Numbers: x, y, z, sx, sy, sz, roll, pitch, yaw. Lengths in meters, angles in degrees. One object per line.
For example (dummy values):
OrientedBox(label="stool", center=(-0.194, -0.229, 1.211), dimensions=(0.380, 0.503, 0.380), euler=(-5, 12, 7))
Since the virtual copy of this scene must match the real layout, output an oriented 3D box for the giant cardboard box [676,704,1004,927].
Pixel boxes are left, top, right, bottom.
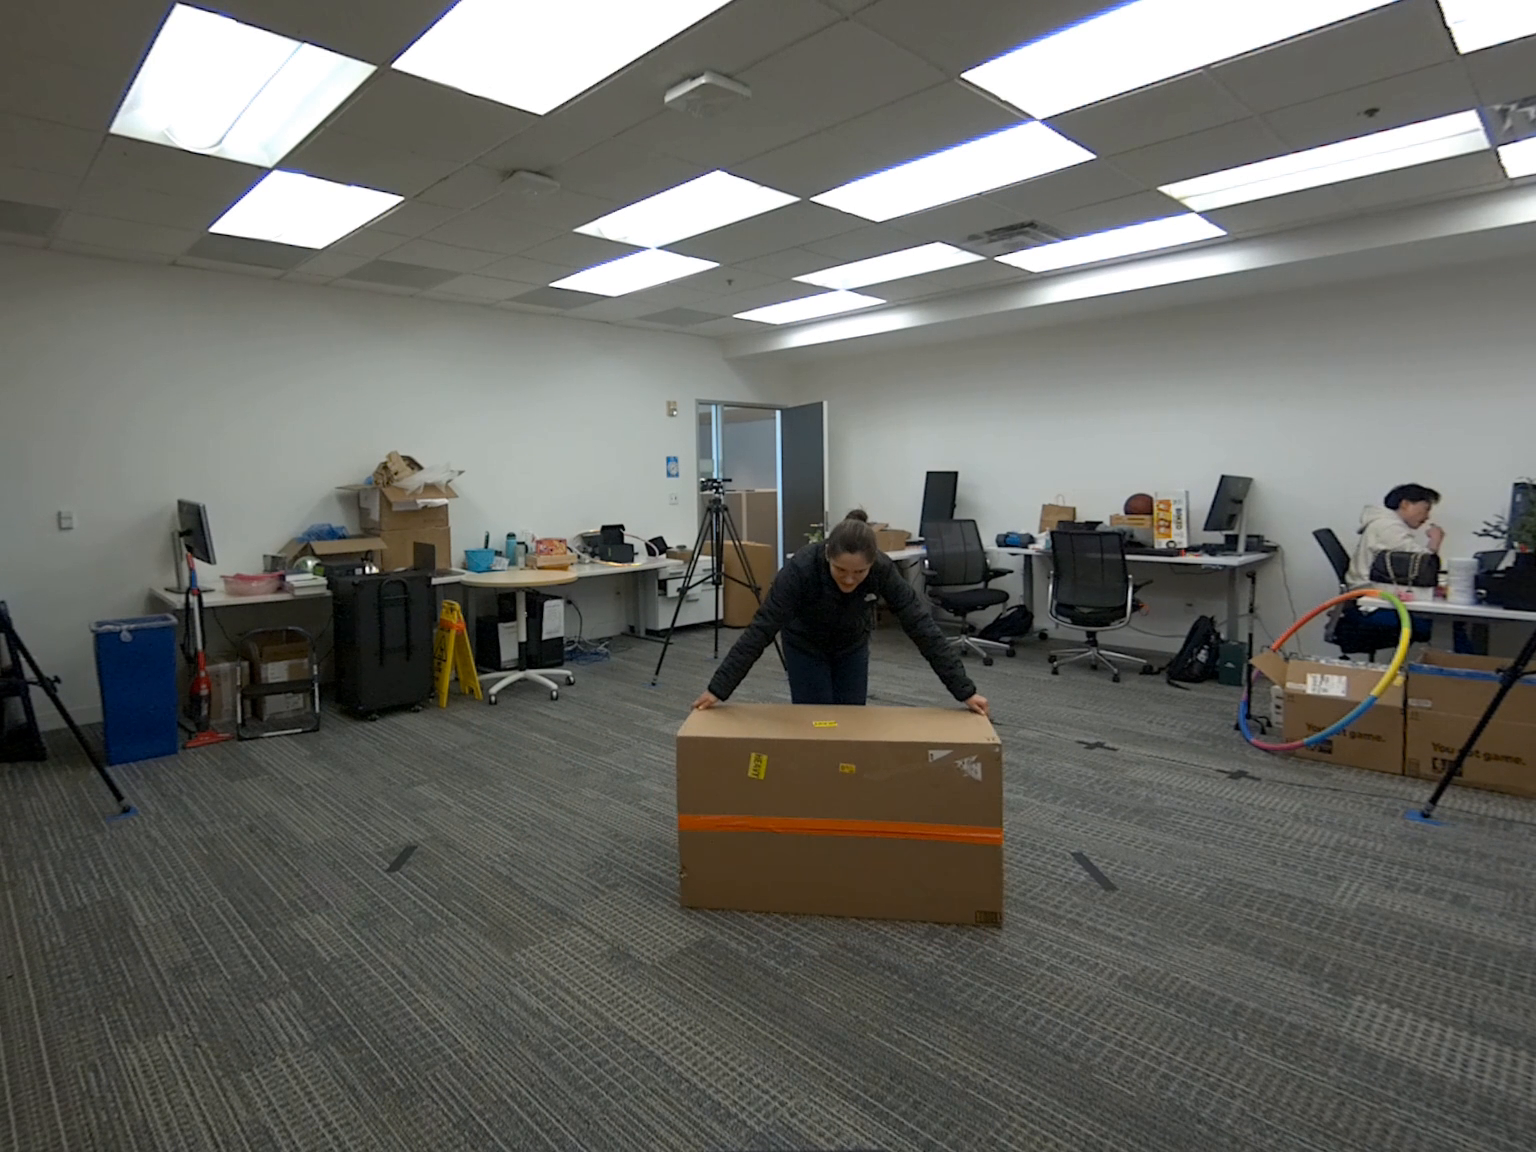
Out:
OrientedBox(label="giant cardboard box", center=(0.231, 0.772, 2.910), dimensions=(1.035, 0.582, 0.445), euler=(-1, 5, 8))
